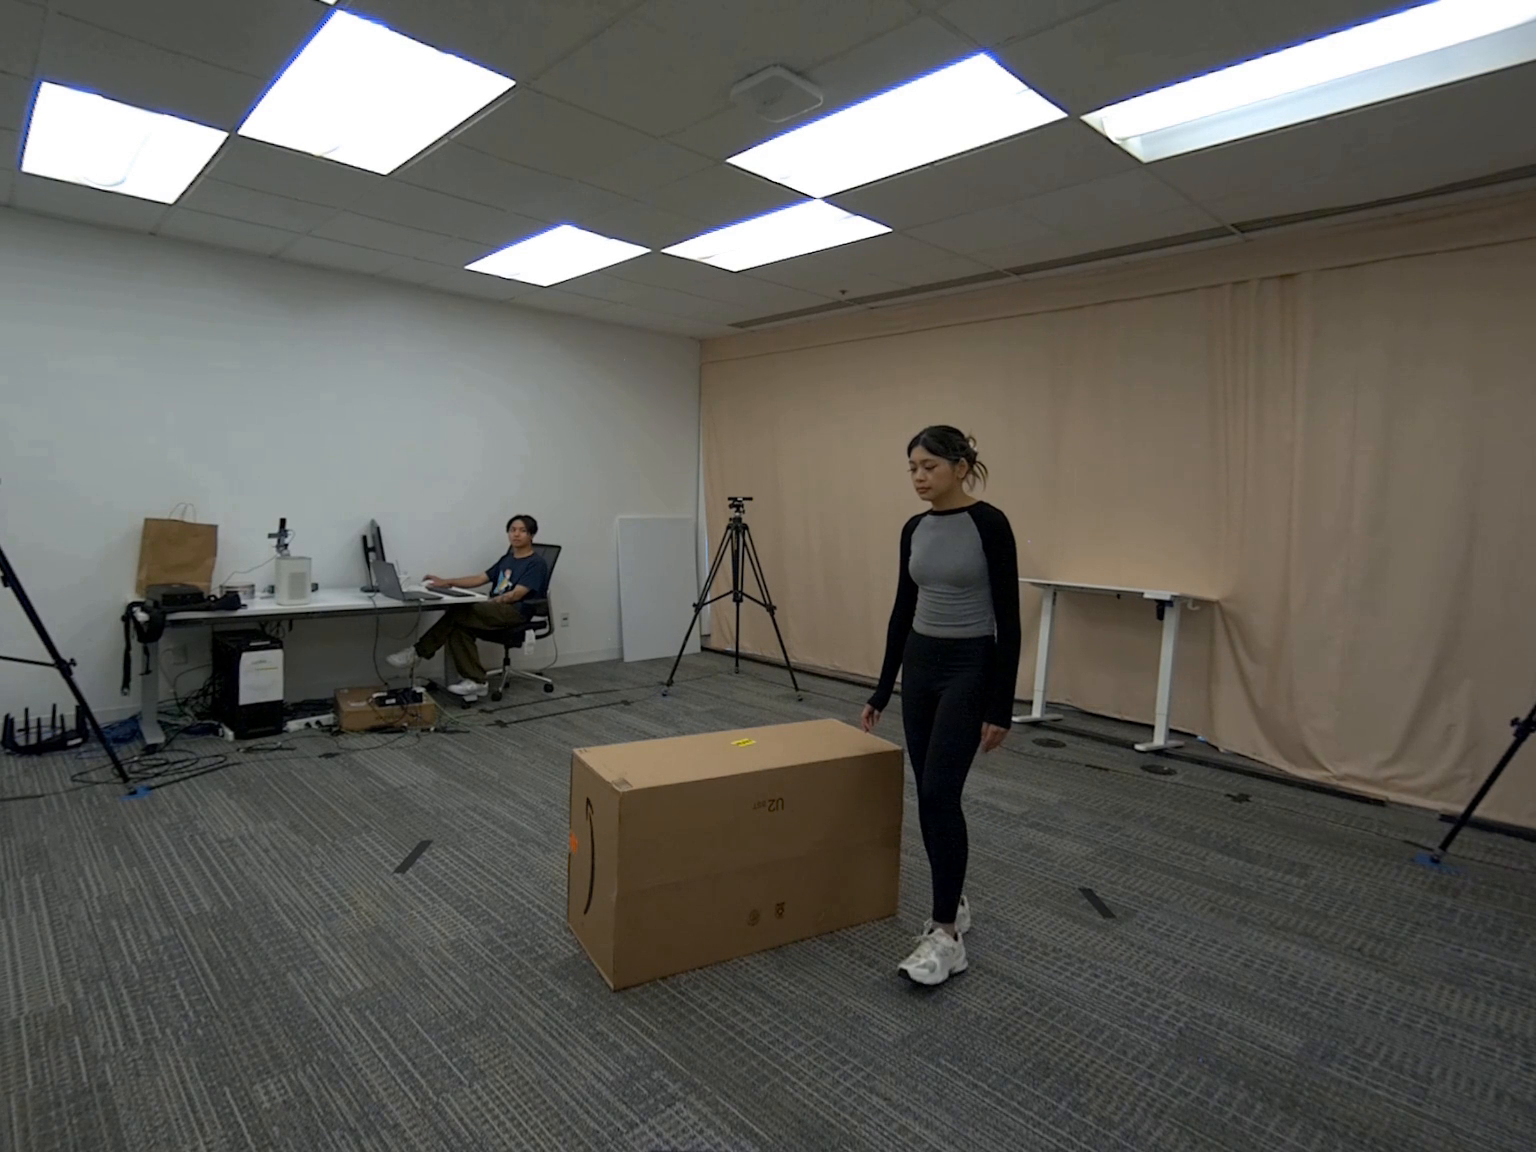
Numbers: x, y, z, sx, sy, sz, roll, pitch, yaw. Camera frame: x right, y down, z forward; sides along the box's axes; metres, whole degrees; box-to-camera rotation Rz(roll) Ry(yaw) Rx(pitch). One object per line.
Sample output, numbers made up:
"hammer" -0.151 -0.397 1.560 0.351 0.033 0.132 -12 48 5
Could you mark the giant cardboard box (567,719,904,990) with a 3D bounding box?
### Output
"giant cardboard box" -0.102 0.853 2.774 1.005 0.576 0.436 -1 5 -29
